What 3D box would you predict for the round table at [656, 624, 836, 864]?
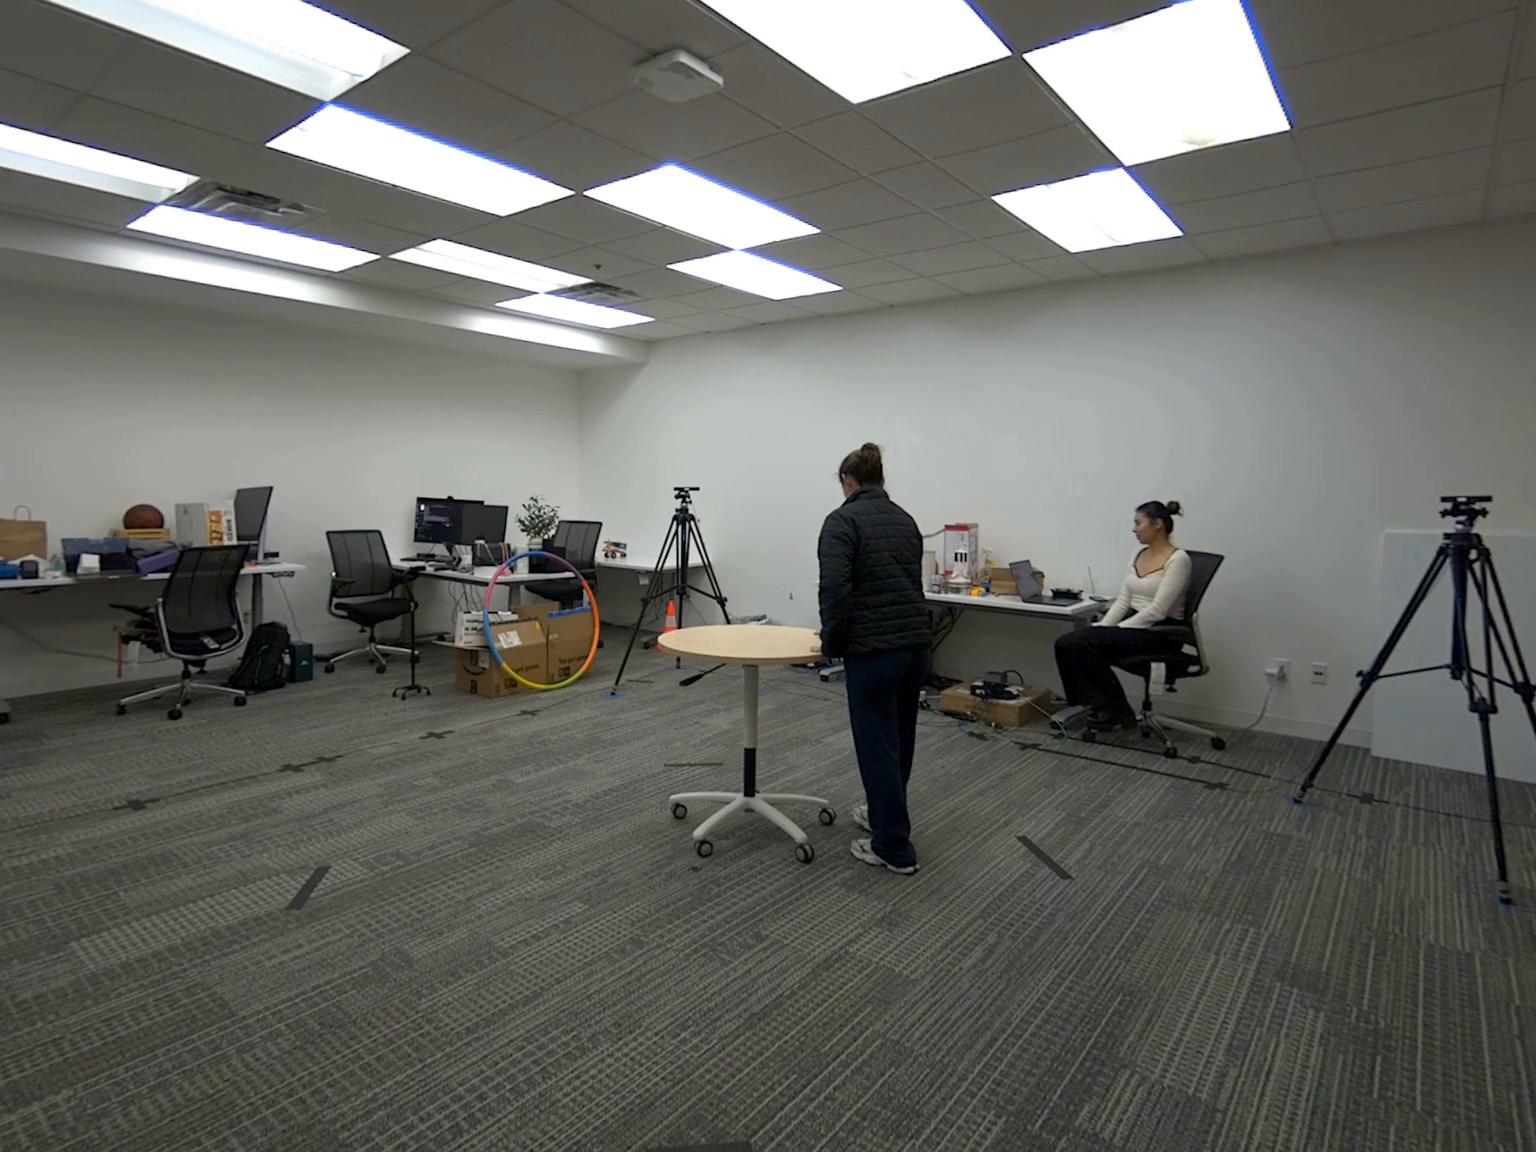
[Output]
[{"bbox_3d":[-0.040,0.641,3.471,0.784,0.784,0.789,0,4,-2],"label":"round table"}]
